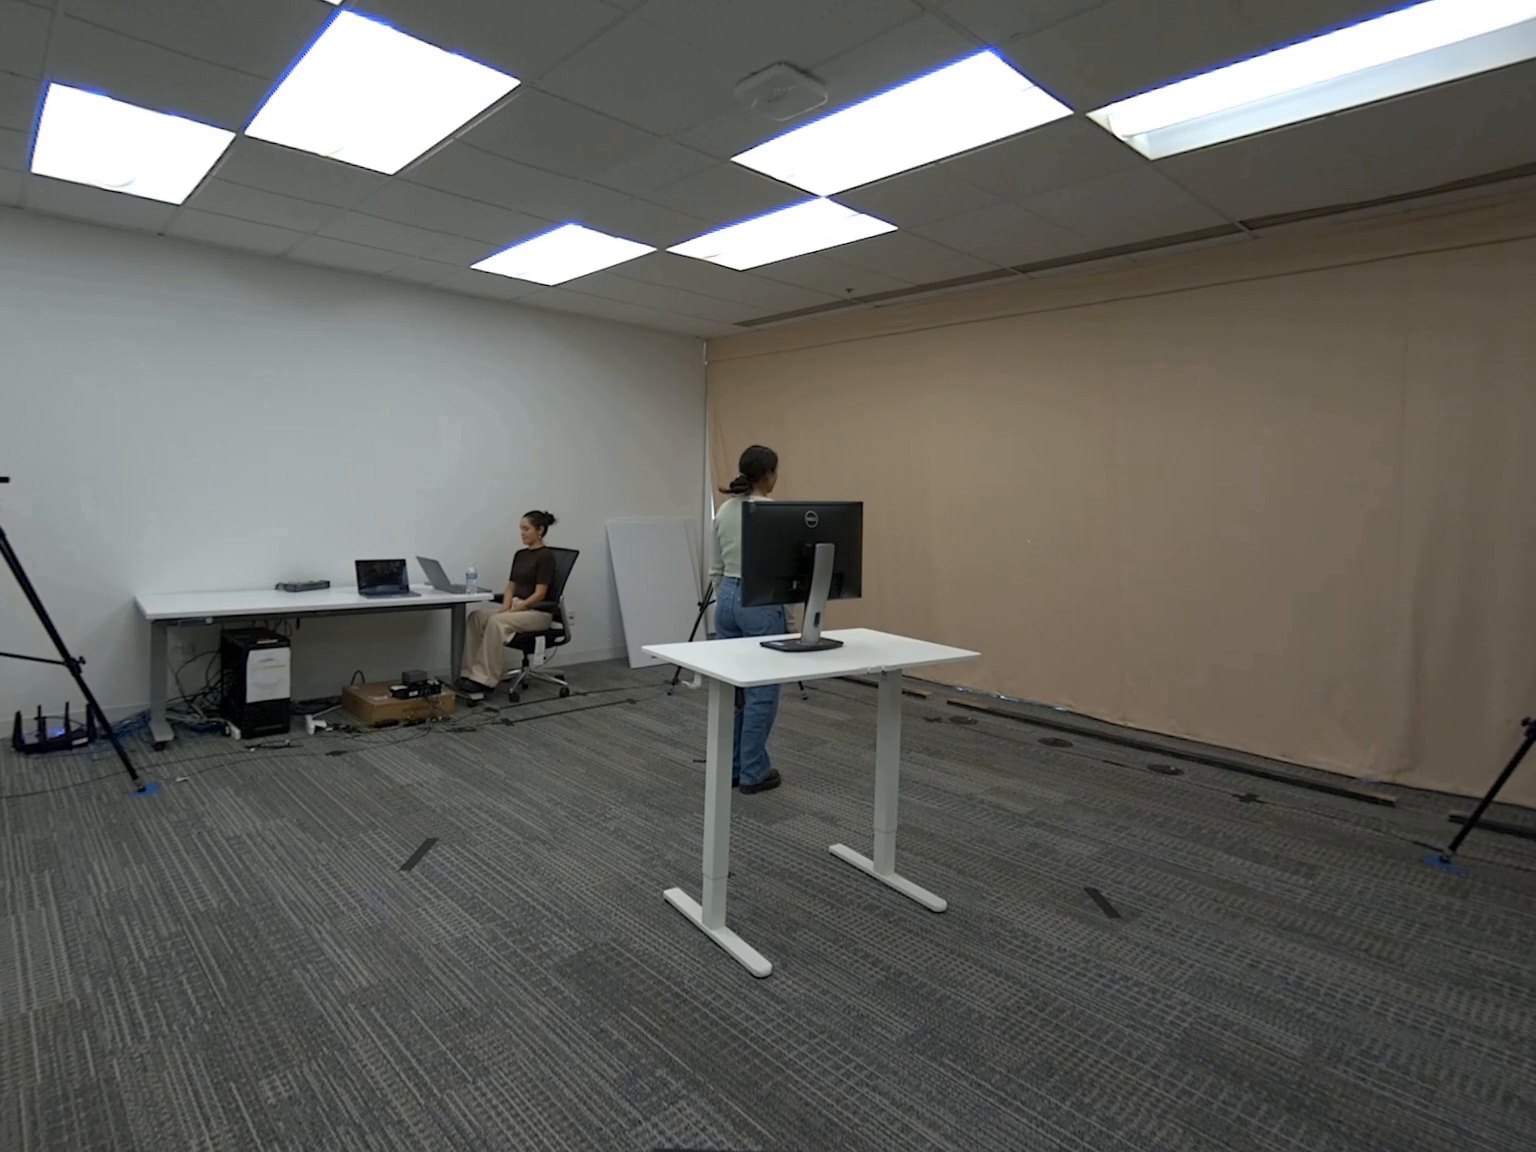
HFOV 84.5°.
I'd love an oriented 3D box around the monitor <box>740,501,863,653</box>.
[{"bbox_3d":[0.137,0.004,2.893,0.527,0.522,0.191,-3,0,-38],"label":"monitor"}]
